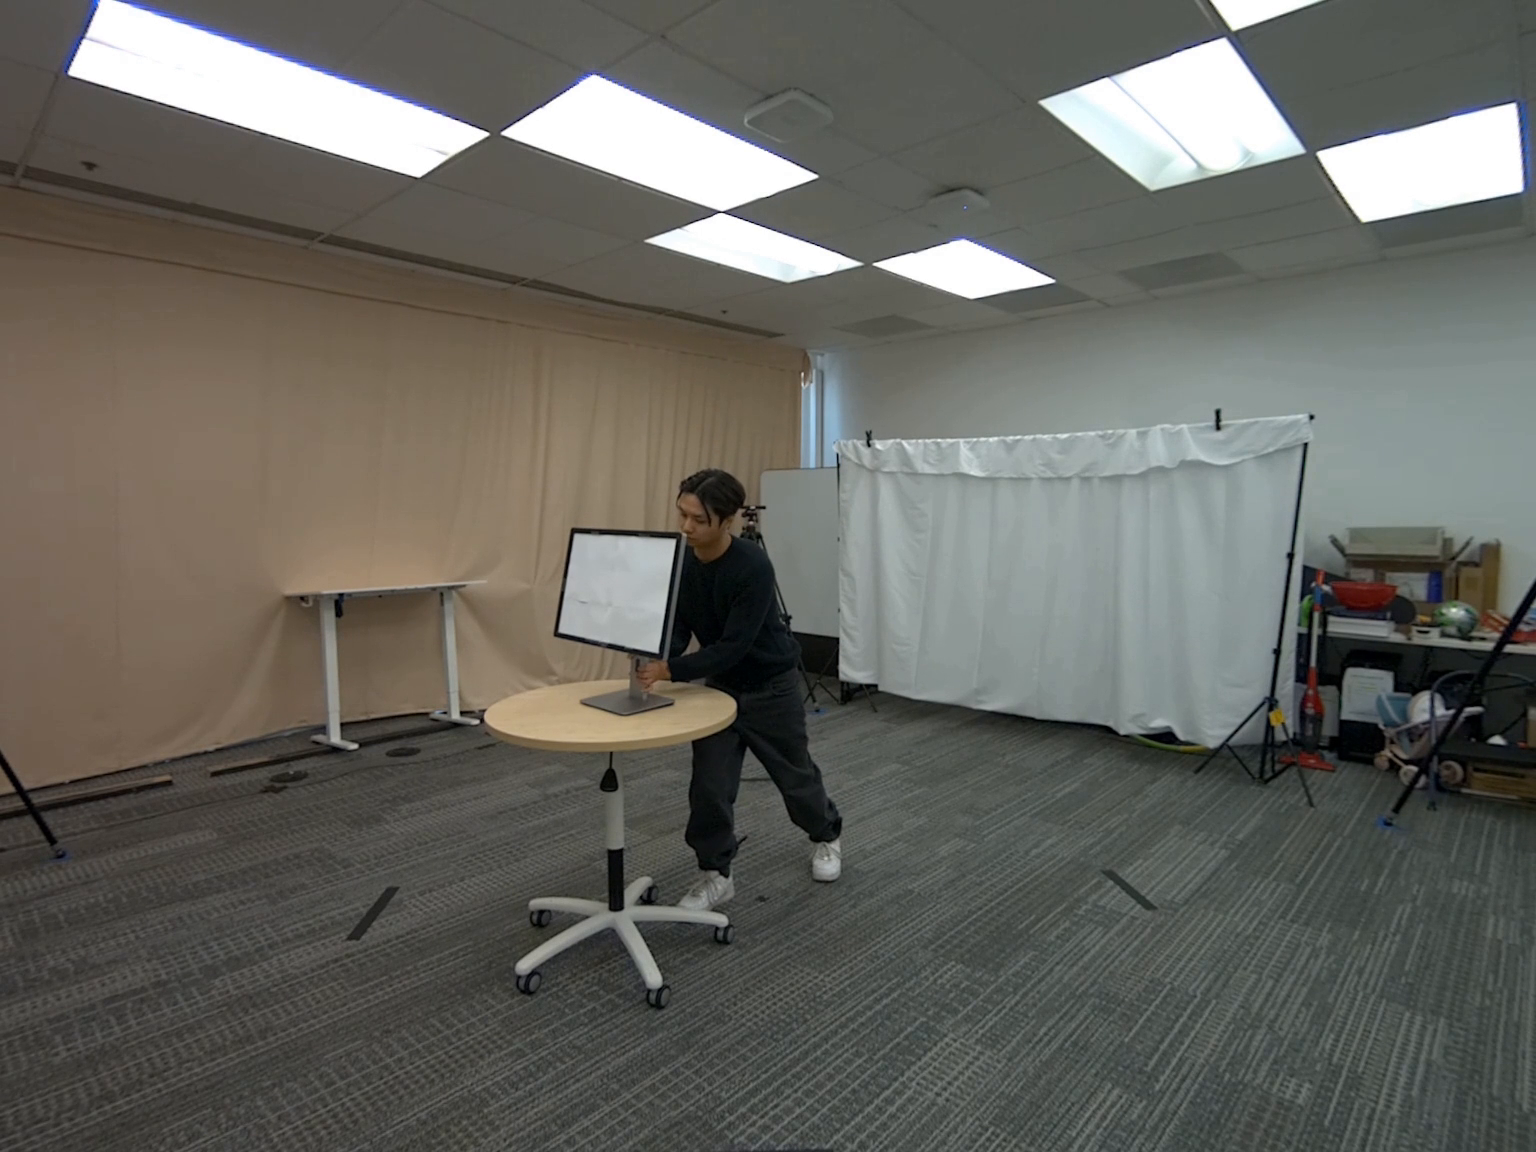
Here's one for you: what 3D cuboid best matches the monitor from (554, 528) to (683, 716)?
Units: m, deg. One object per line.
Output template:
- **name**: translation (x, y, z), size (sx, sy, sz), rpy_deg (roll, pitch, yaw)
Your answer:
- **monitor**: translation (-0.442, 0.128, 2.606), size (0.548, 0.513, 0.170), rpy_deg (6, 11, 44)
